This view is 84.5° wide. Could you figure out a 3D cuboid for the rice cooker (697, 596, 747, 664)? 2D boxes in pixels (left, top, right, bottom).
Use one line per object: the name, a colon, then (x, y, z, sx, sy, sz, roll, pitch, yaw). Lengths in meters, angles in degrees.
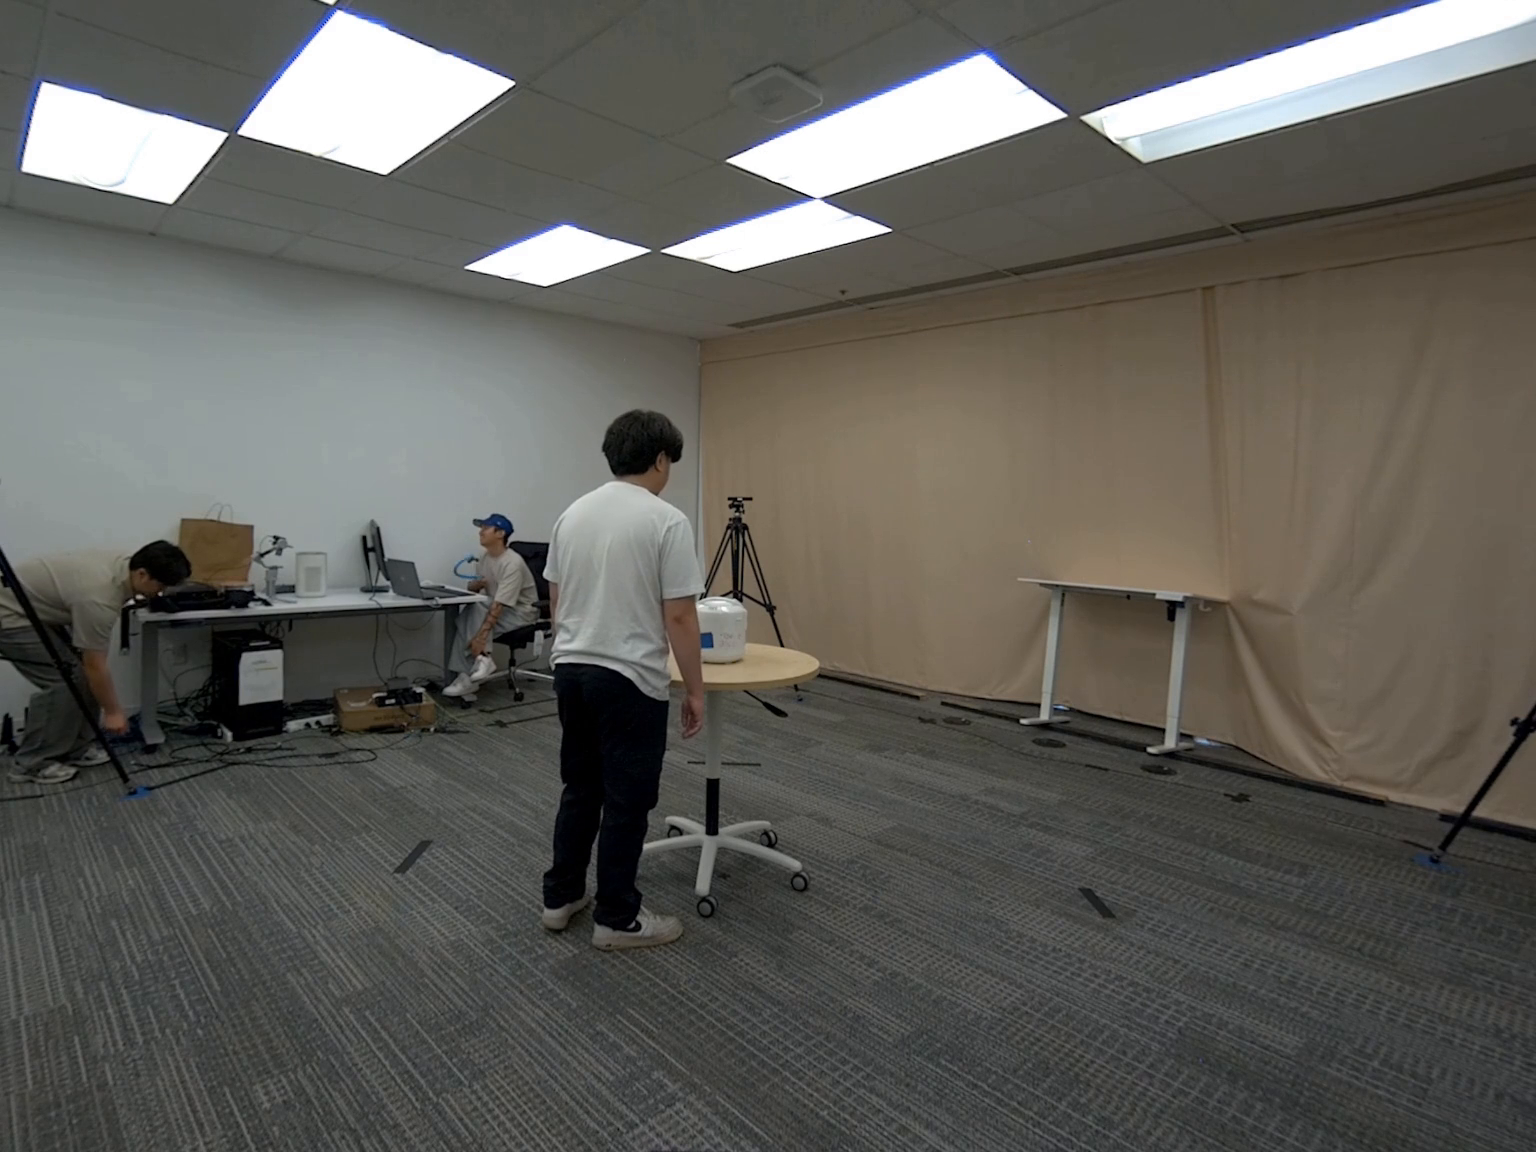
rice cooker: (-0.191, 0.192, 3.110, 0.221, 0.232, 0.217, 2, 4, 5)
